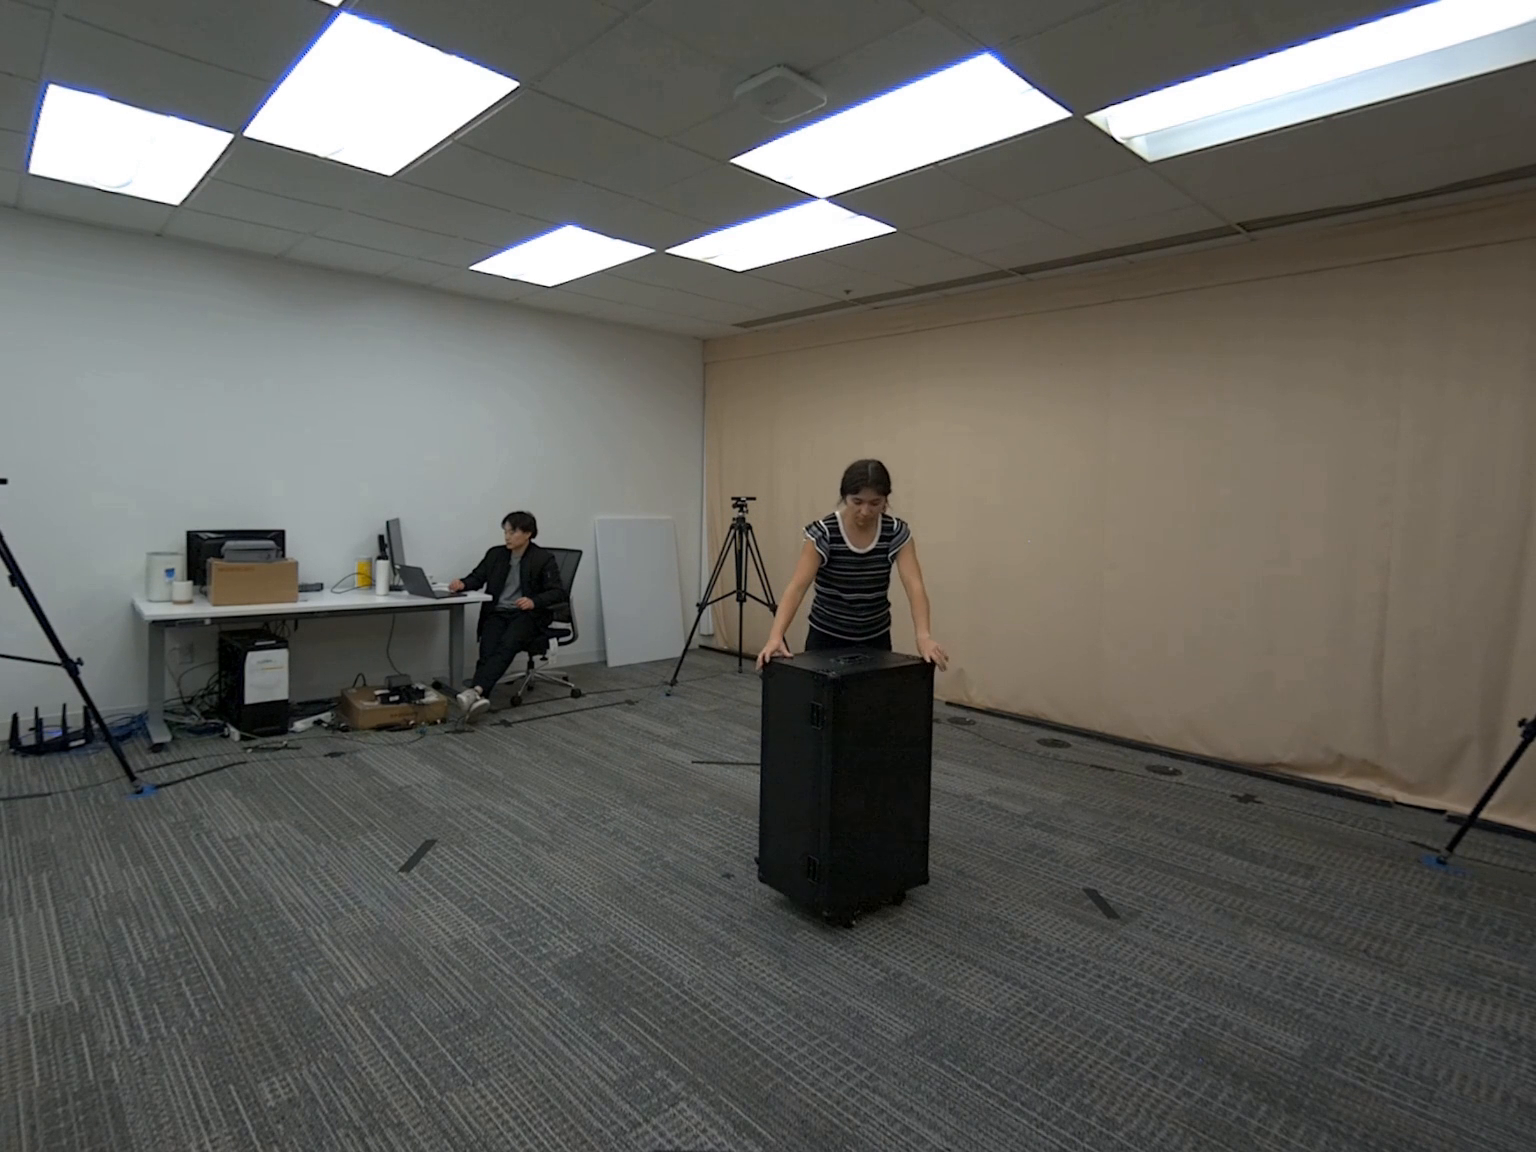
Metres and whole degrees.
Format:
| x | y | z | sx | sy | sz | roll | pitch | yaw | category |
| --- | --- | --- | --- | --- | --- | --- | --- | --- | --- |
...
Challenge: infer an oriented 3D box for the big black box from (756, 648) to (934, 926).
| x | y | z | sx | sy | sz | roll | pitch | yaw | category |
| --- | --- | --- | --- | --- | --- | --- | --- | --- | --- |
| 0.251 | 0.708 | 2.910 | 0.509 | 0.860 | 0.406 | -1 | 3 | -37 | big black box |
